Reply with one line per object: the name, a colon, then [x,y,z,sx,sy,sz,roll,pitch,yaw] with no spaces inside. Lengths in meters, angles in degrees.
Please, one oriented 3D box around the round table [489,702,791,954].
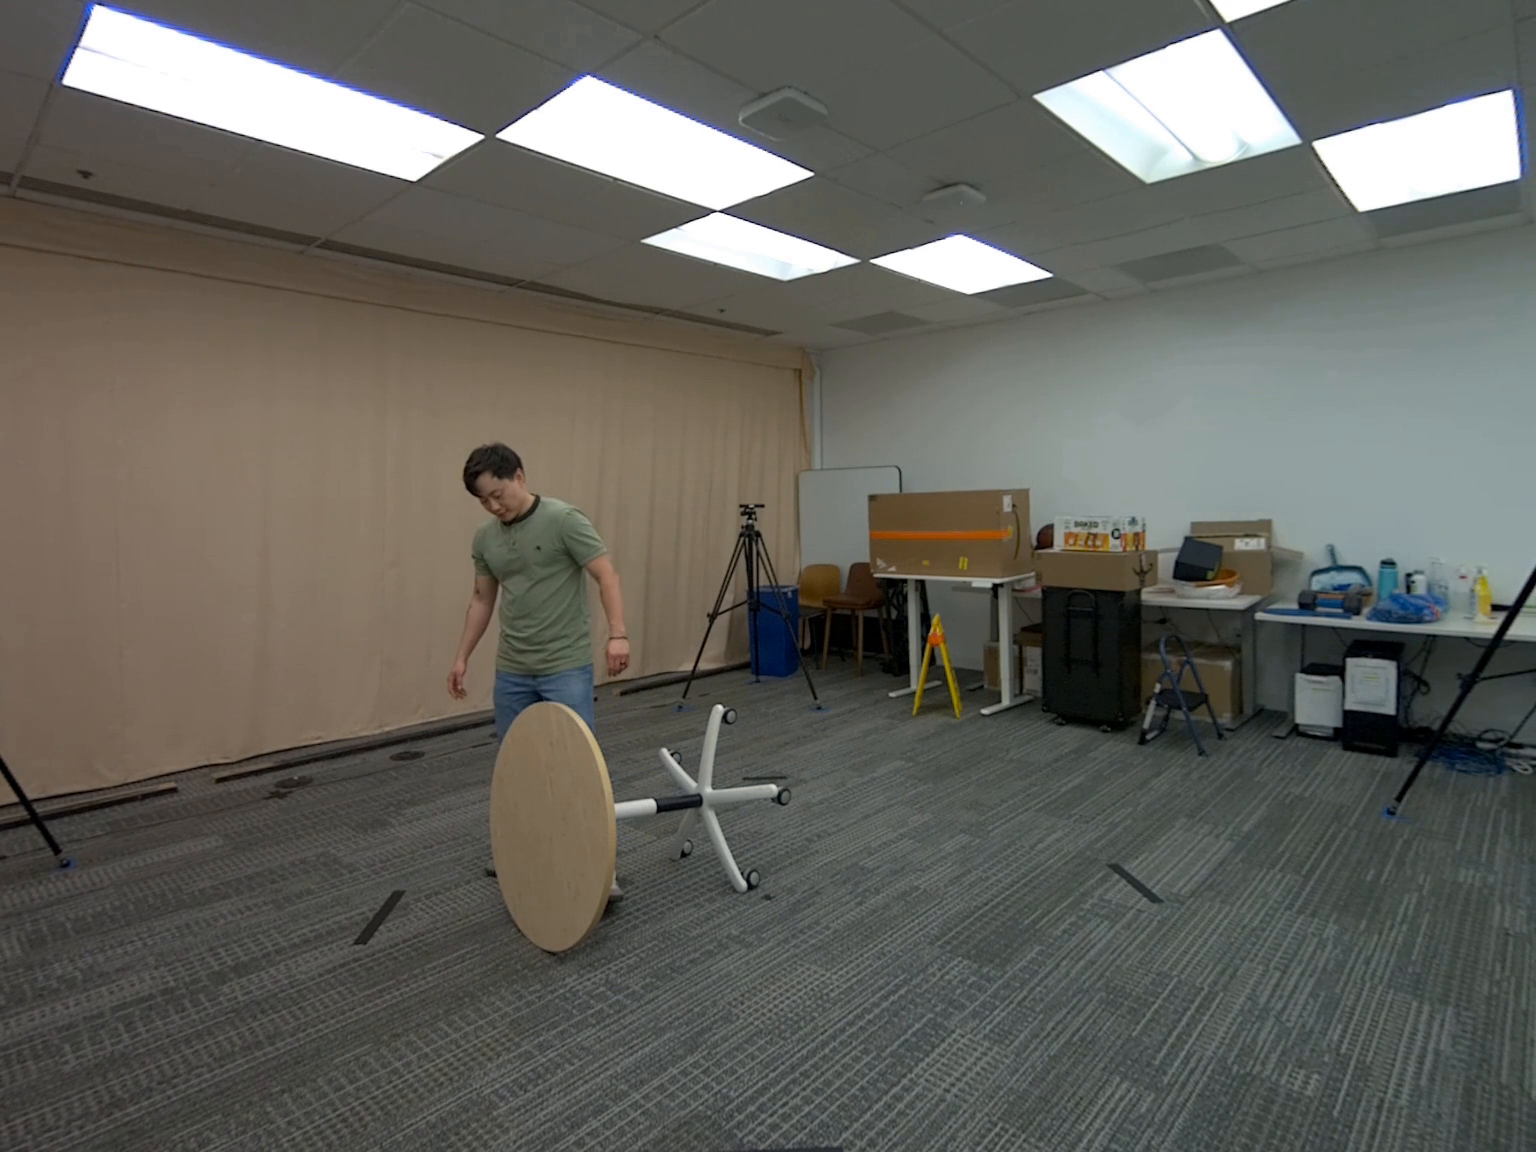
round table: [-0.433,0.821,2.970,0.767,0.764,0.789,5,-1,-42]
